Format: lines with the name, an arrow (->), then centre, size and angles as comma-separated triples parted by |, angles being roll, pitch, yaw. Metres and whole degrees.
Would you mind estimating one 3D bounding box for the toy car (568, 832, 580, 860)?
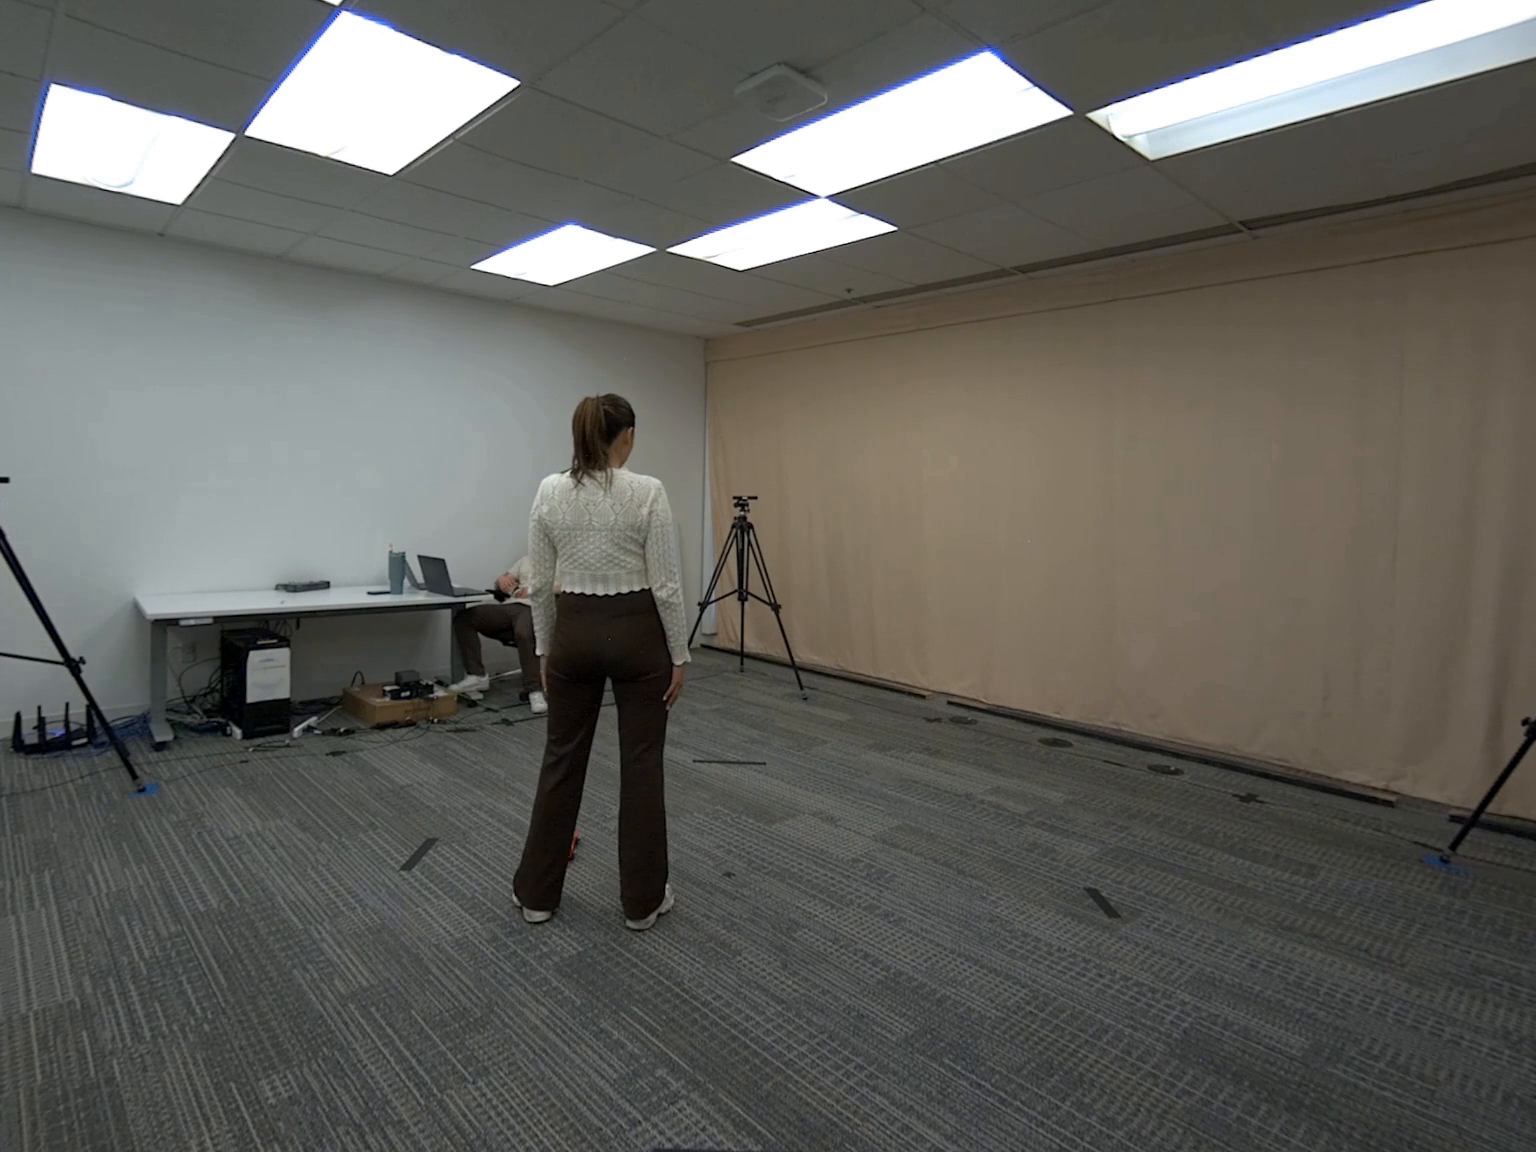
toy car -> -0.808, 1.047, 3.250 | 0.130, 0.083, 0.254 | 1, -6, -5
